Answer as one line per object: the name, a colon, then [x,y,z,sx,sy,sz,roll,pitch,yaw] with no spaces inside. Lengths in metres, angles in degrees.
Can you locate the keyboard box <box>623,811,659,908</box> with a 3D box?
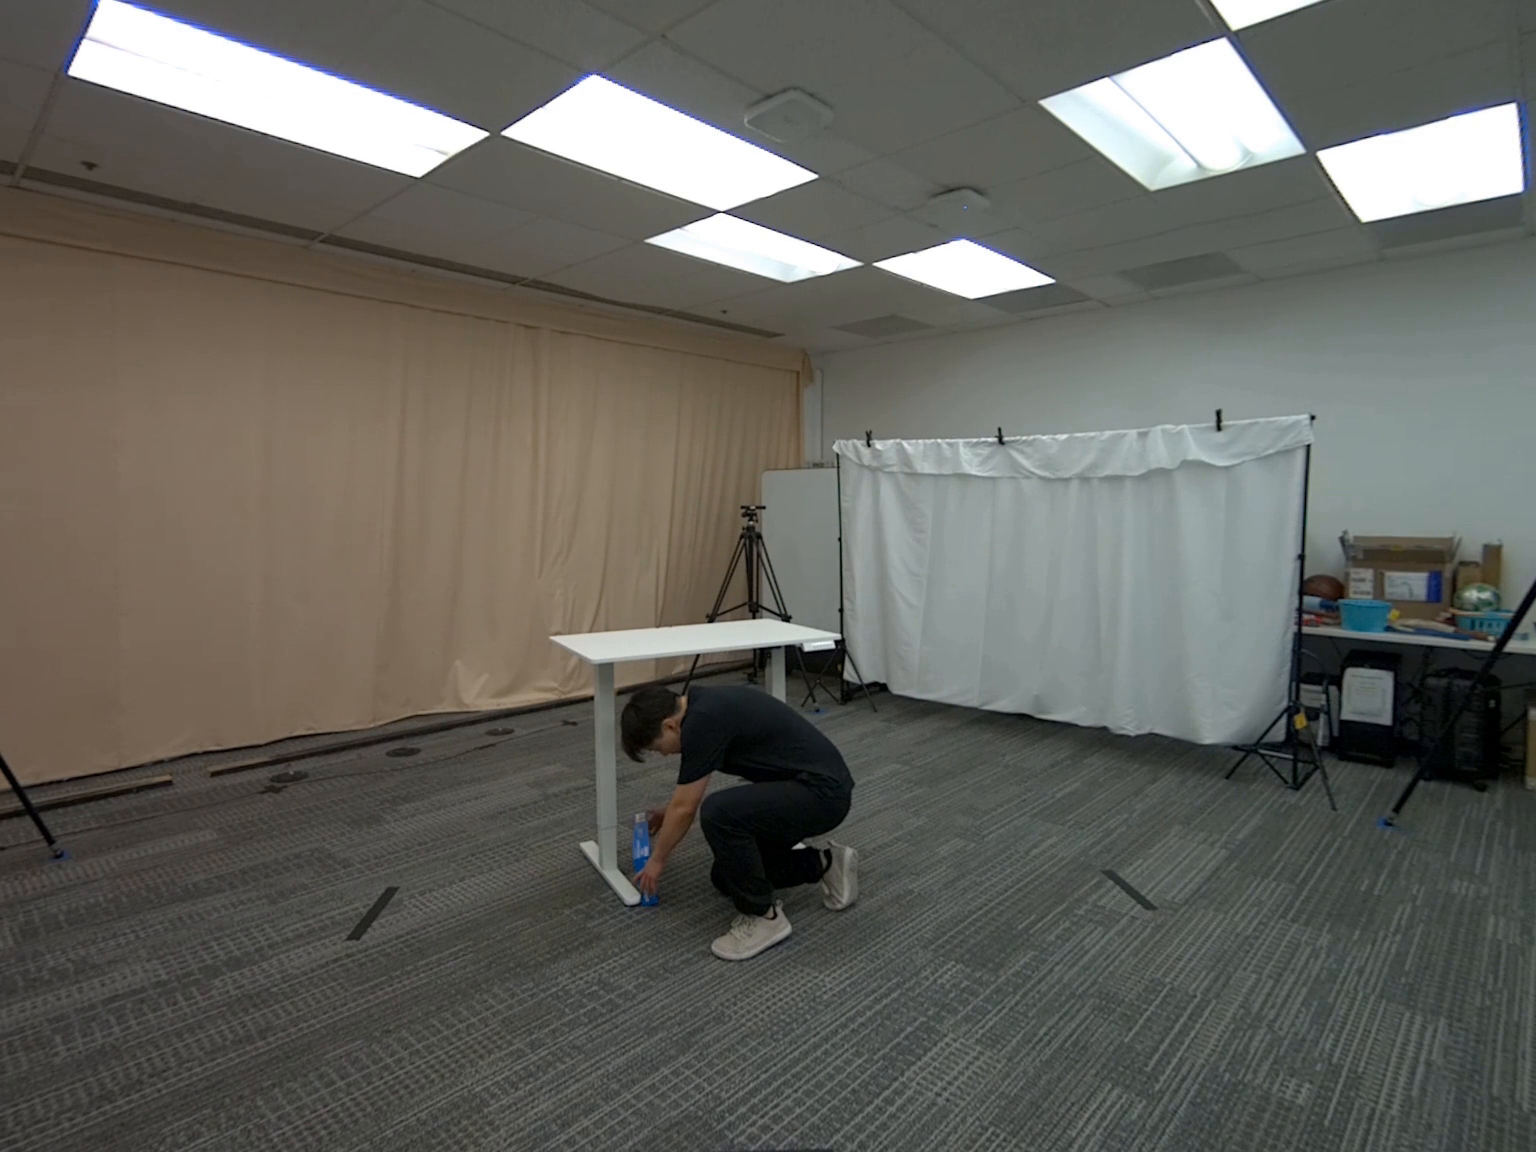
keyboard box: [-0.458,1.048,3.137,0.059,0.175,0.441,-9,6,-9]
